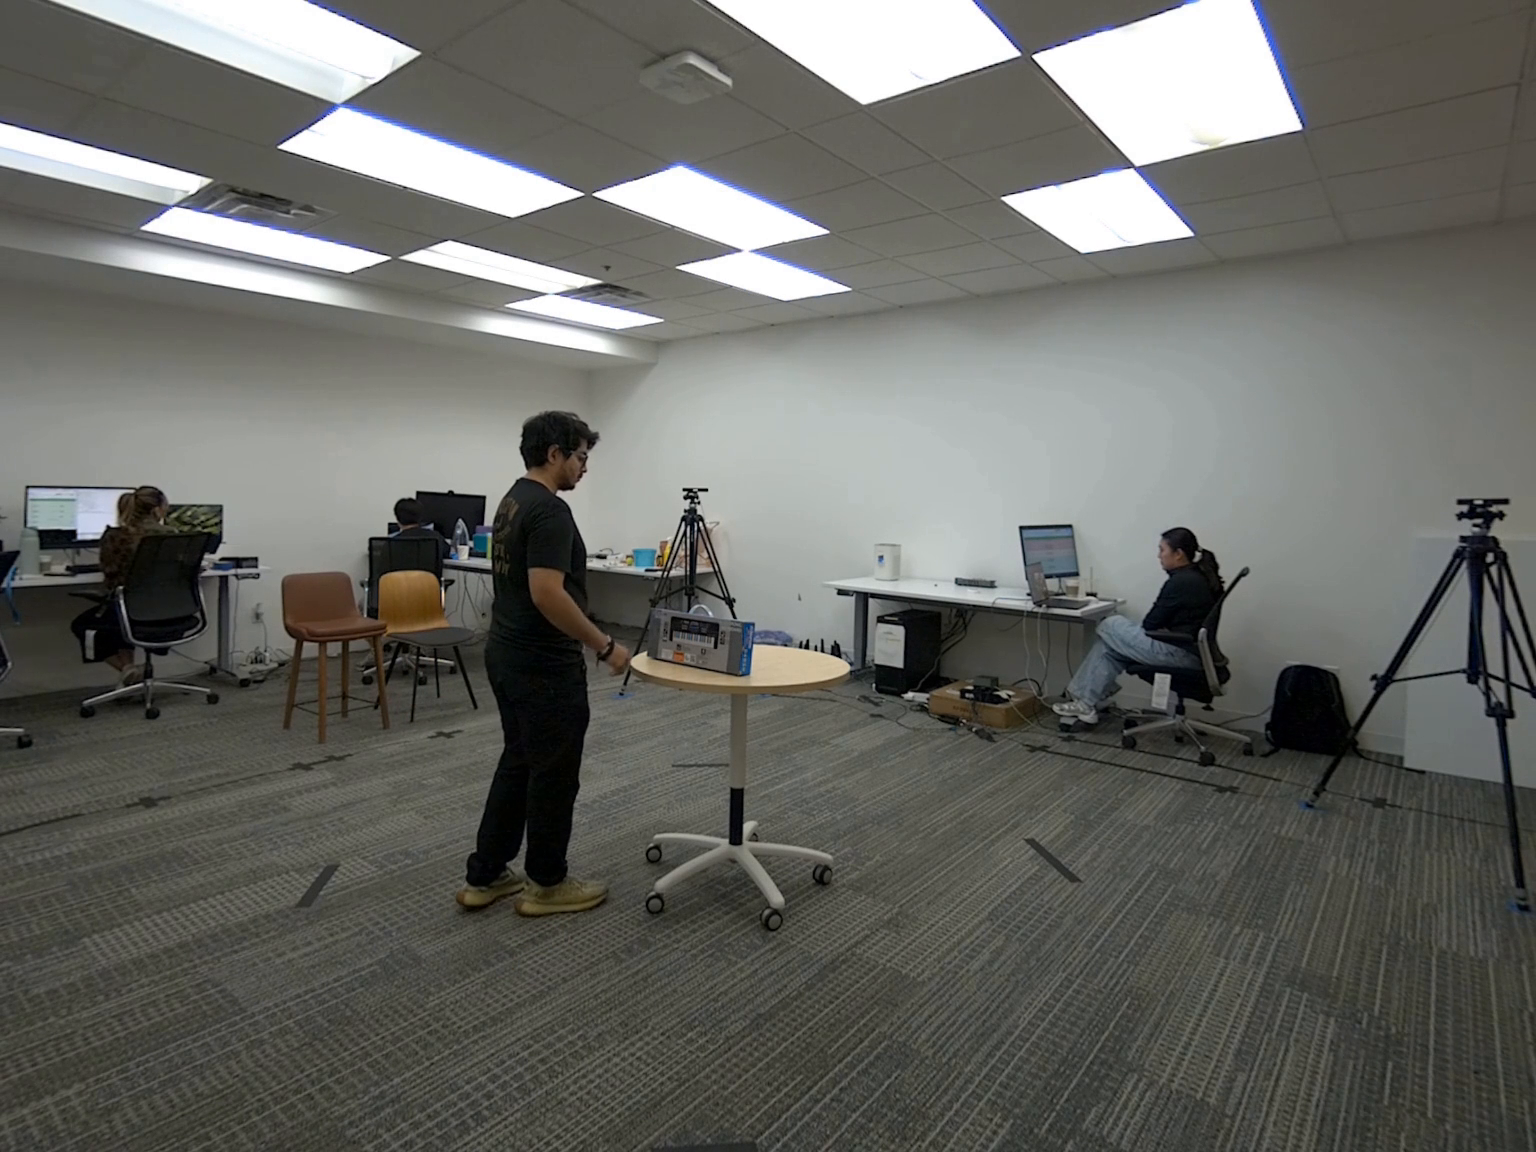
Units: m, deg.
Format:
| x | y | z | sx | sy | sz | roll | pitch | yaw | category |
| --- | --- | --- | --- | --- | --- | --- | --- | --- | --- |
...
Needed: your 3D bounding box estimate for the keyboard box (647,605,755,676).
| x | y | z | sx | sy | sz | roll | pitch | yaw | category |
| --- | --- | --- | --- | --- | --- | --- | --- | --- | --- |
| -0.244 | 0.222 | 2.890 | 0.452 | 0.176 | 0.057 | 5 | -1 | 40 | keyboard box |
